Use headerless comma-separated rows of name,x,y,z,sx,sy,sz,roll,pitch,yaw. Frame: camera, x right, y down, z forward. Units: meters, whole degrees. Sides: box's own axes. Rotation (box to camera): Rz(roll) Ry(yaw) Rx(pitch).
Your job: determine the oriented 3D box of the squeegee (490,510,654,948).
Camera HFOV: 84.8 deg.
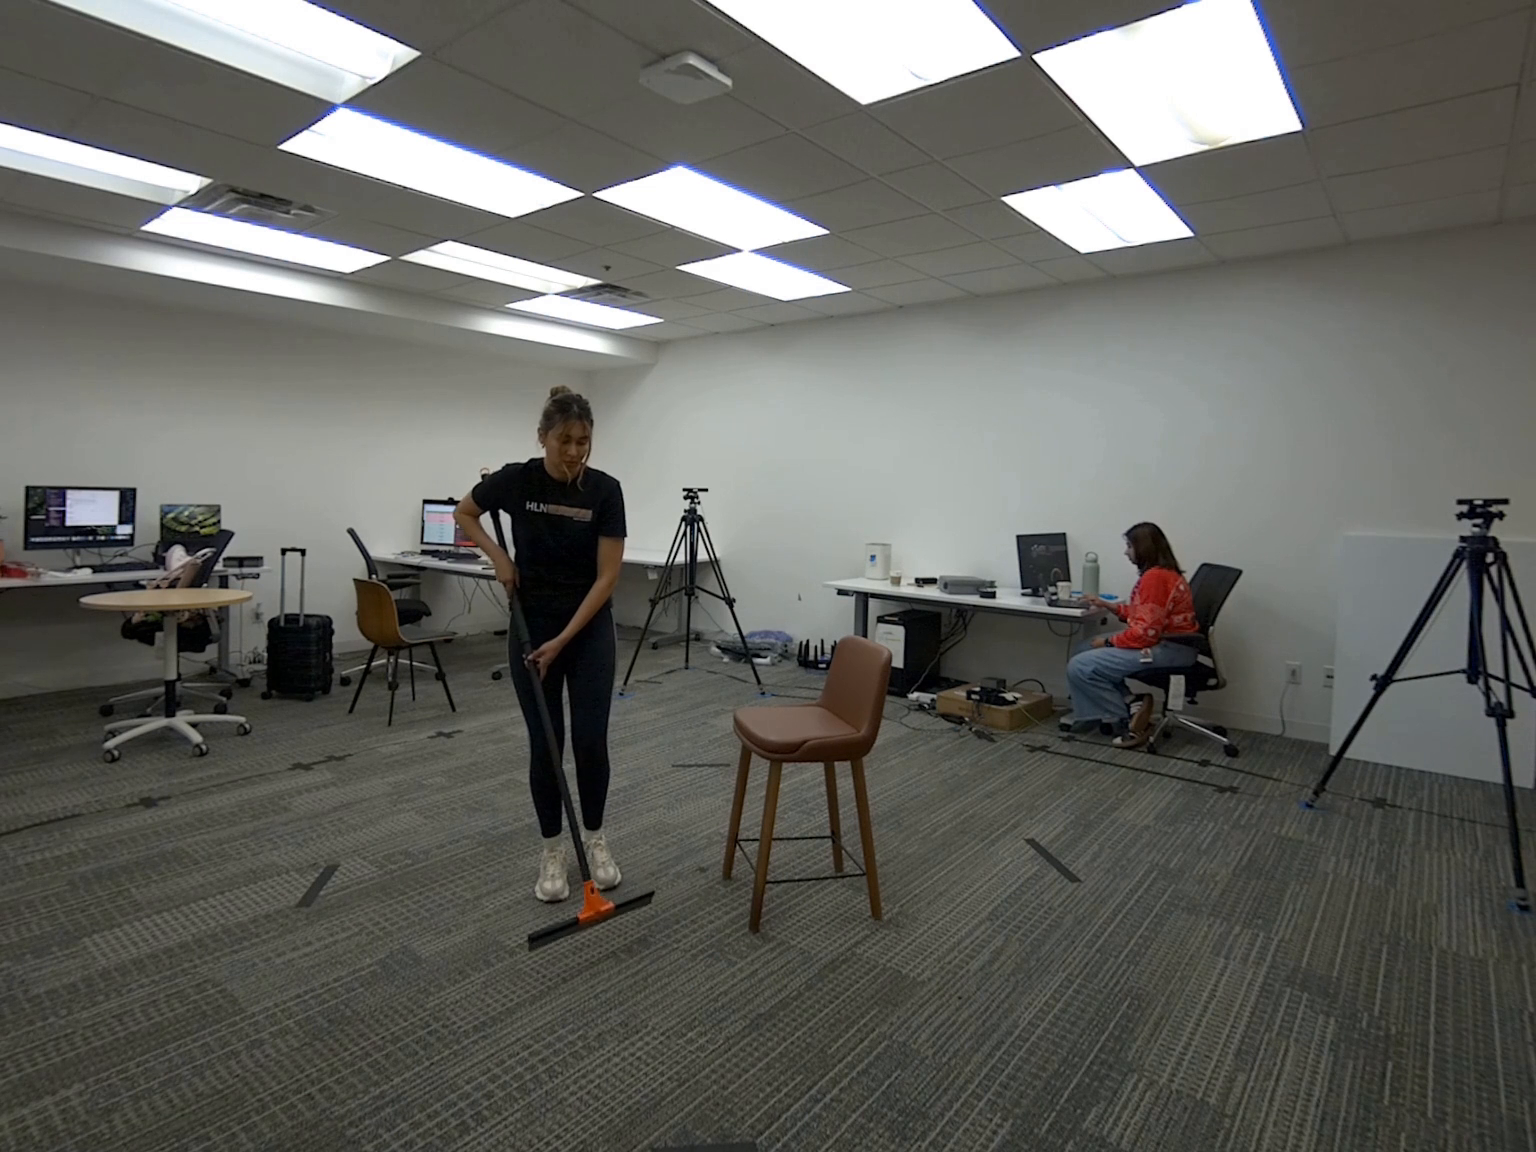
squeegee,-0.763,0.341,2.740,0.425,1.571,0.053,-7,-22,-38
